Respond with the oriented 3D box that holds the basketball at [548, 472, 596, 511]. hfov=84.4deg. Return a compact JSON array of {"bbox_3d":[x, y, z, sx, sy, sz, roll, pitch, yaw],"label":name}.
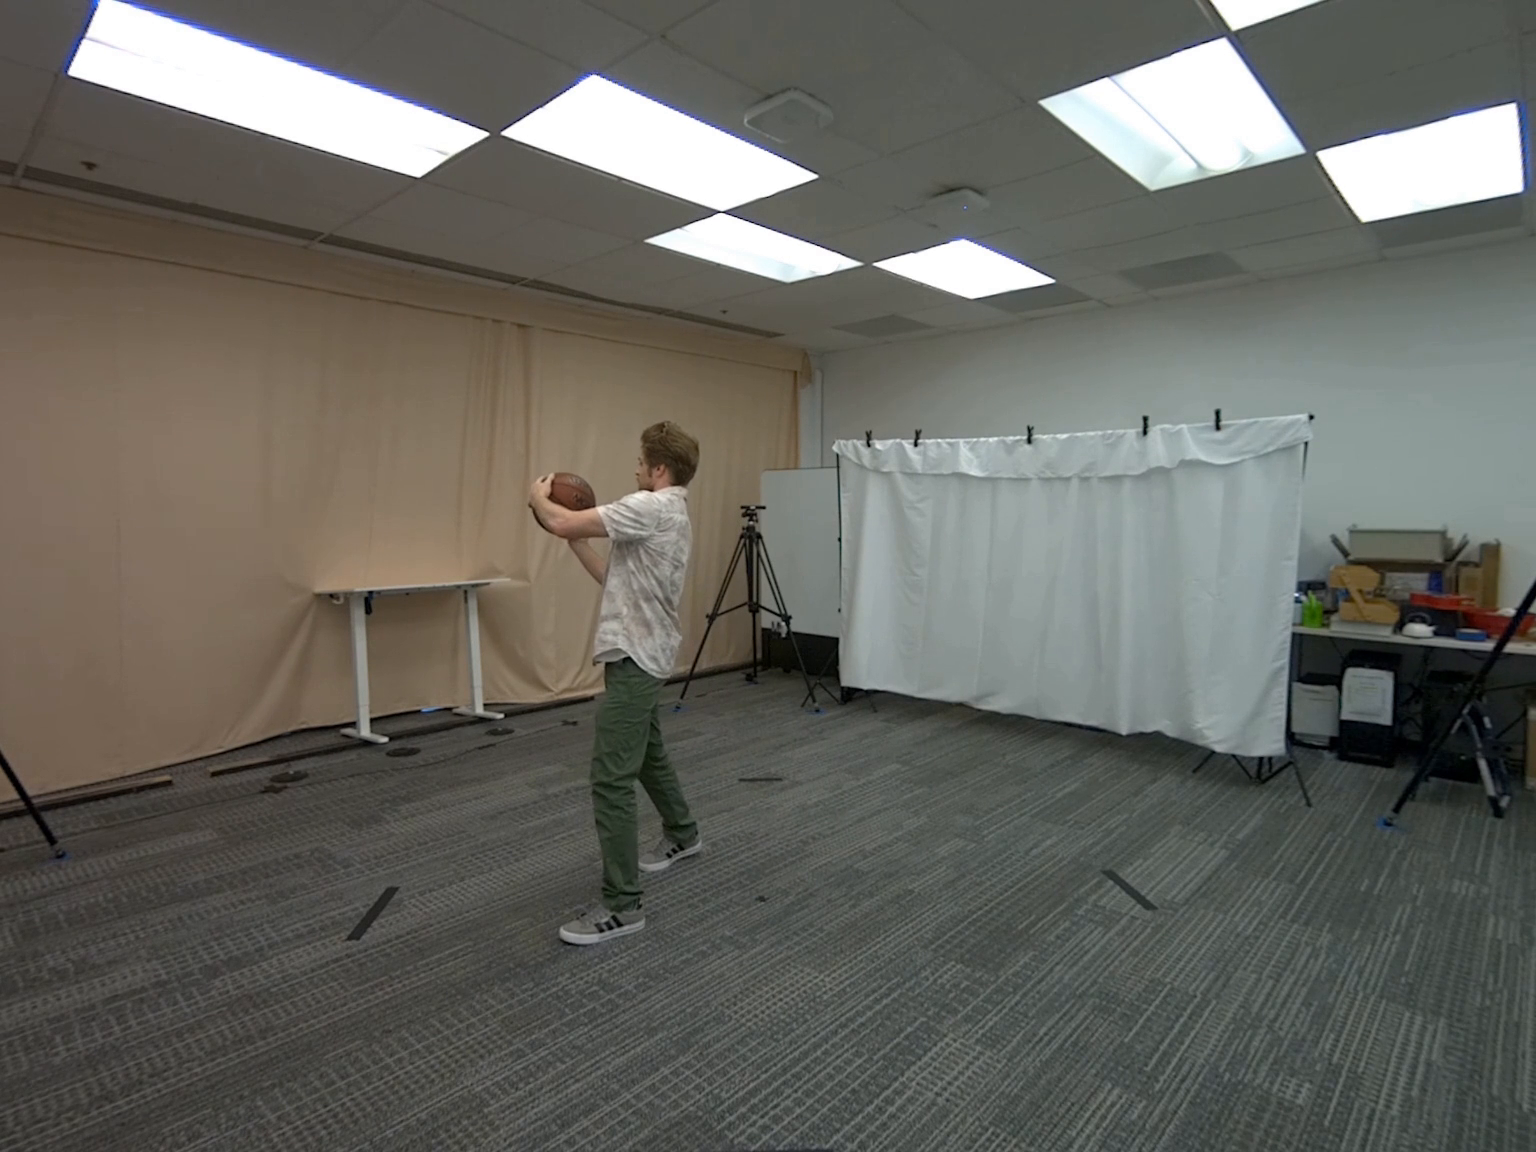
[{"bbox_3d":[-0.772,-0.271,3.158,0.236,0.235,0.237,0,4,-2],"label":"basketball"}]
